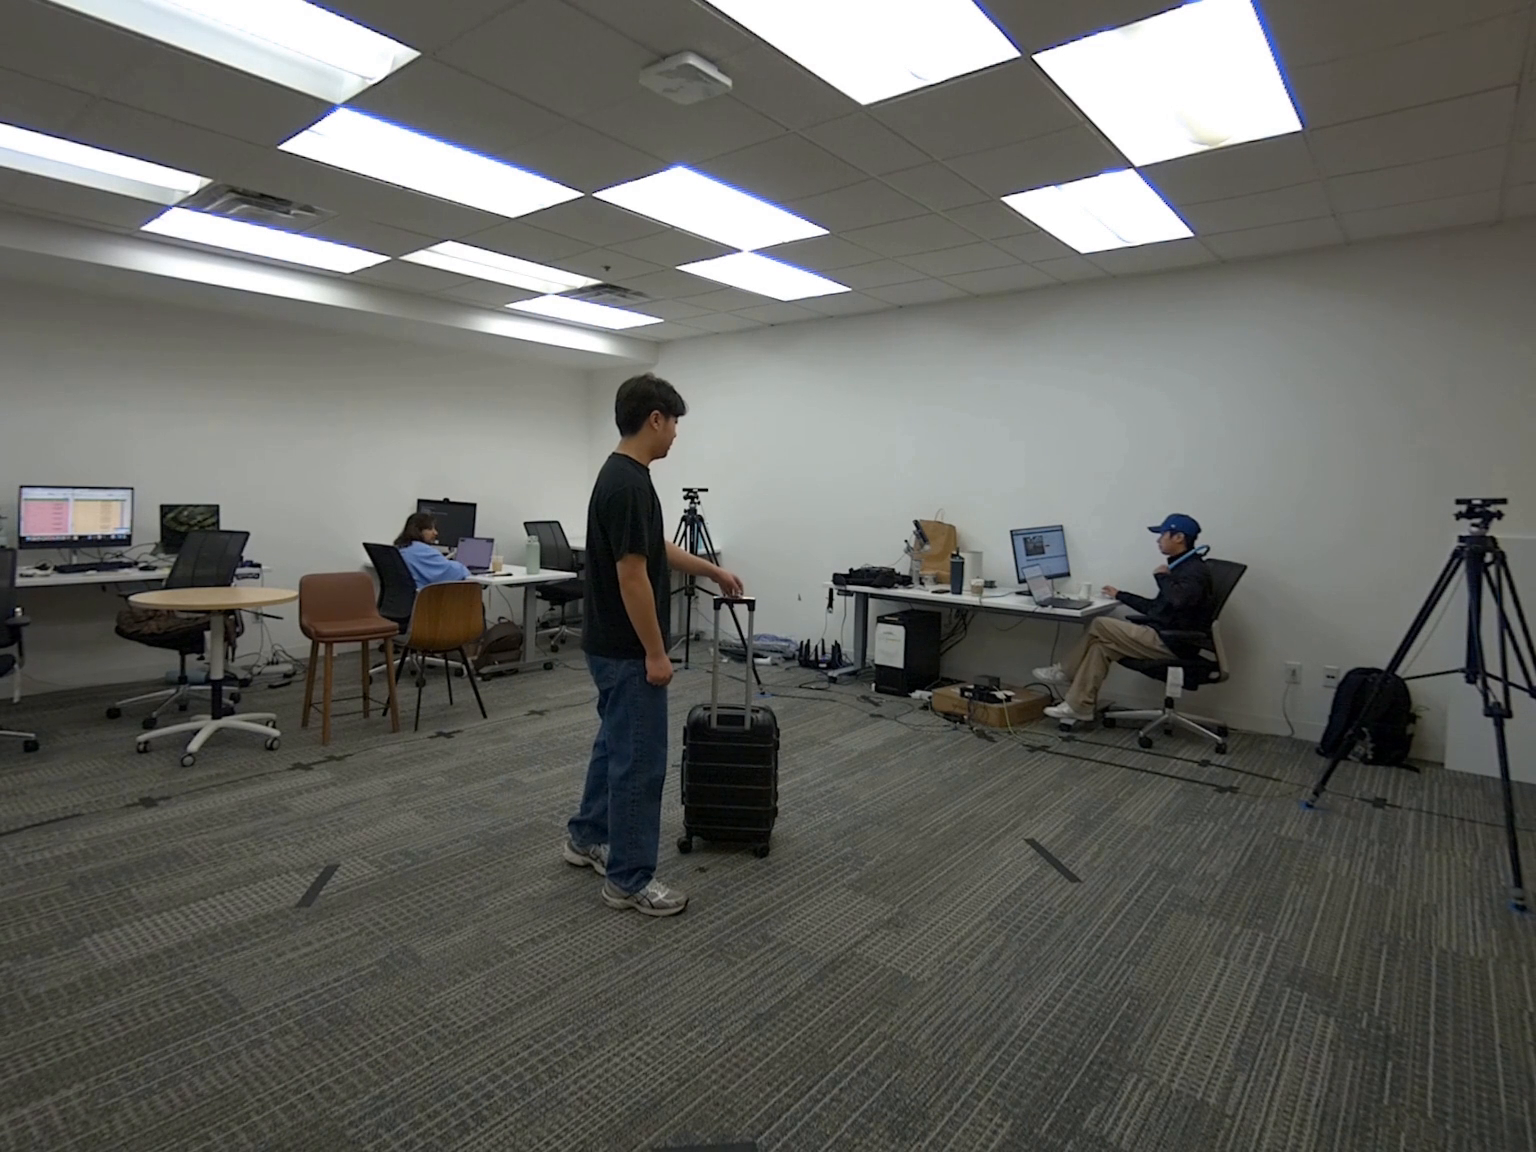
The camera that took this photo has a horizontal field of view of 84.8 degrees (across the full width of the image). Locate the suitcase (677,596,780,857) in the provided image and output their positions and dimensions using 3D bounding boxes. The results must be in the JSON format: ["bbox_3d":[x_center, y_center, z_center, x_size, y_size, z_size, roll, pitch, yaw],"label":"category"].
[{"bbox_3d":[-0.147,0.568,3.343,0.386,0.977,0.256,2,1,4],"label":"suitcase"}]
